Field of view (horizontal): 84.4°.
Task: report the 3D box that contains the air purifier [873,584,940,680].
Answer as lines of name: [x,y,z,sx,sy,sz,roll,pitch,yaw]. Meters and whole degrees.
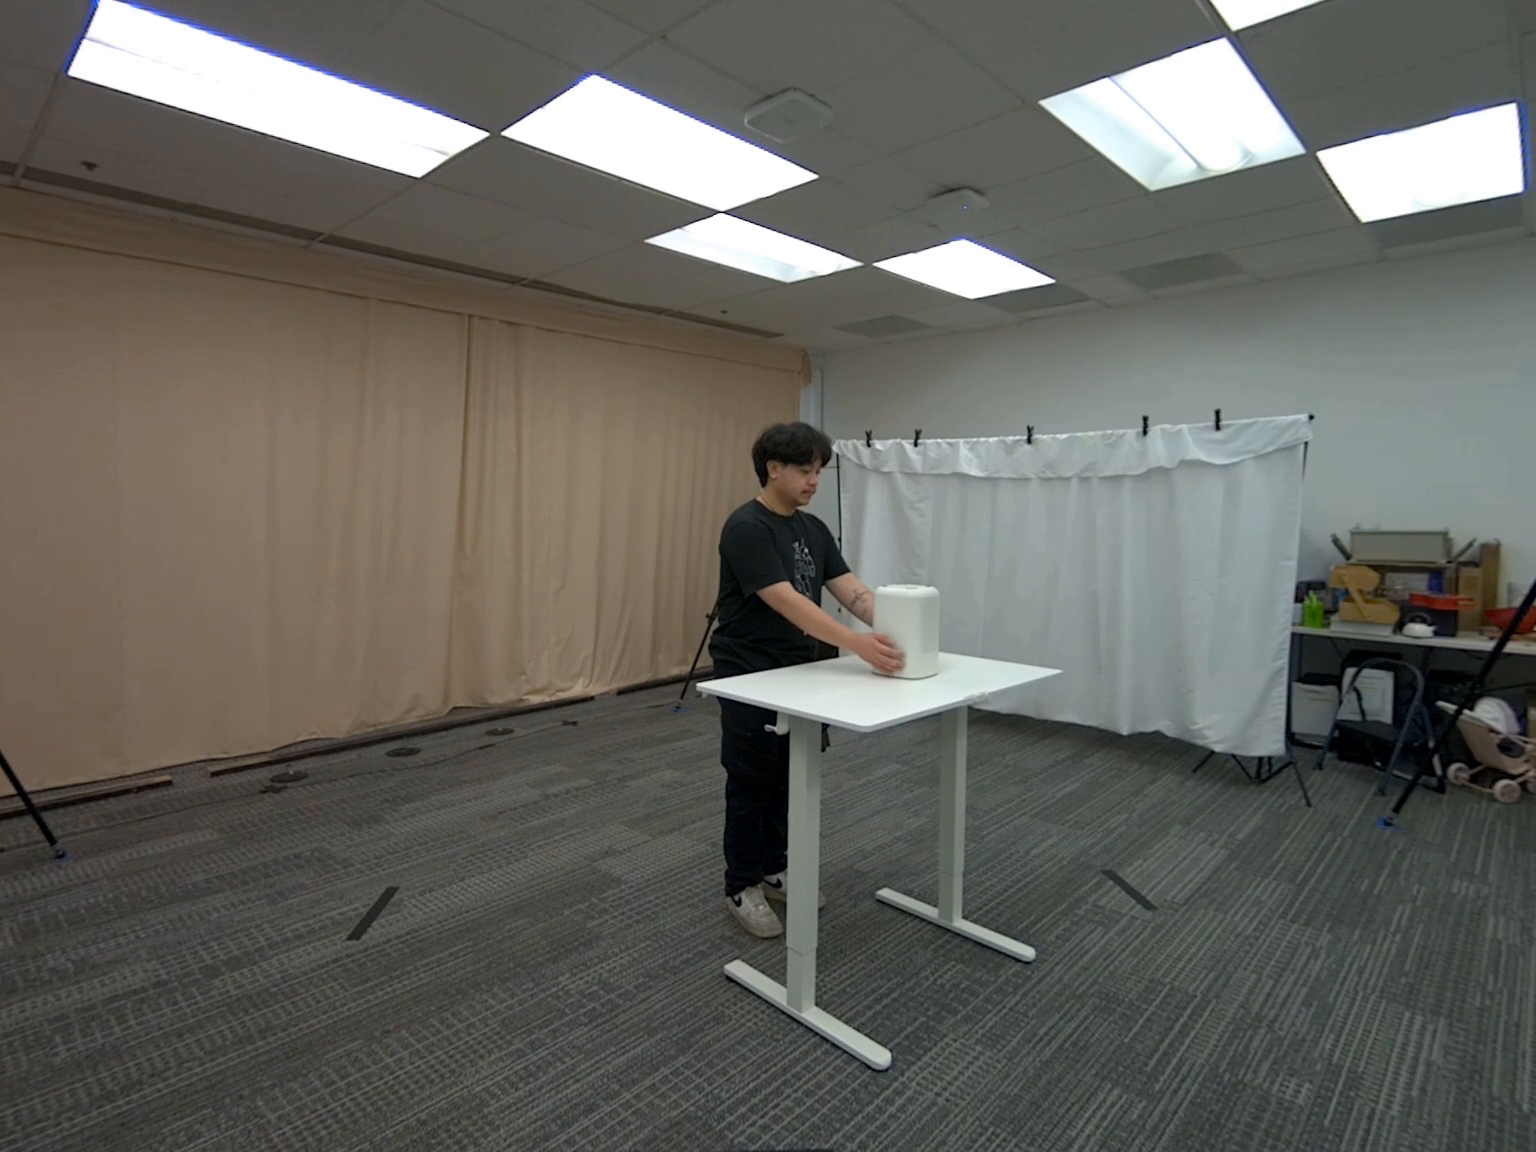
air purifier: [0.429,0.165,2.541,0.177,0.265,0.166,5,5,41]
